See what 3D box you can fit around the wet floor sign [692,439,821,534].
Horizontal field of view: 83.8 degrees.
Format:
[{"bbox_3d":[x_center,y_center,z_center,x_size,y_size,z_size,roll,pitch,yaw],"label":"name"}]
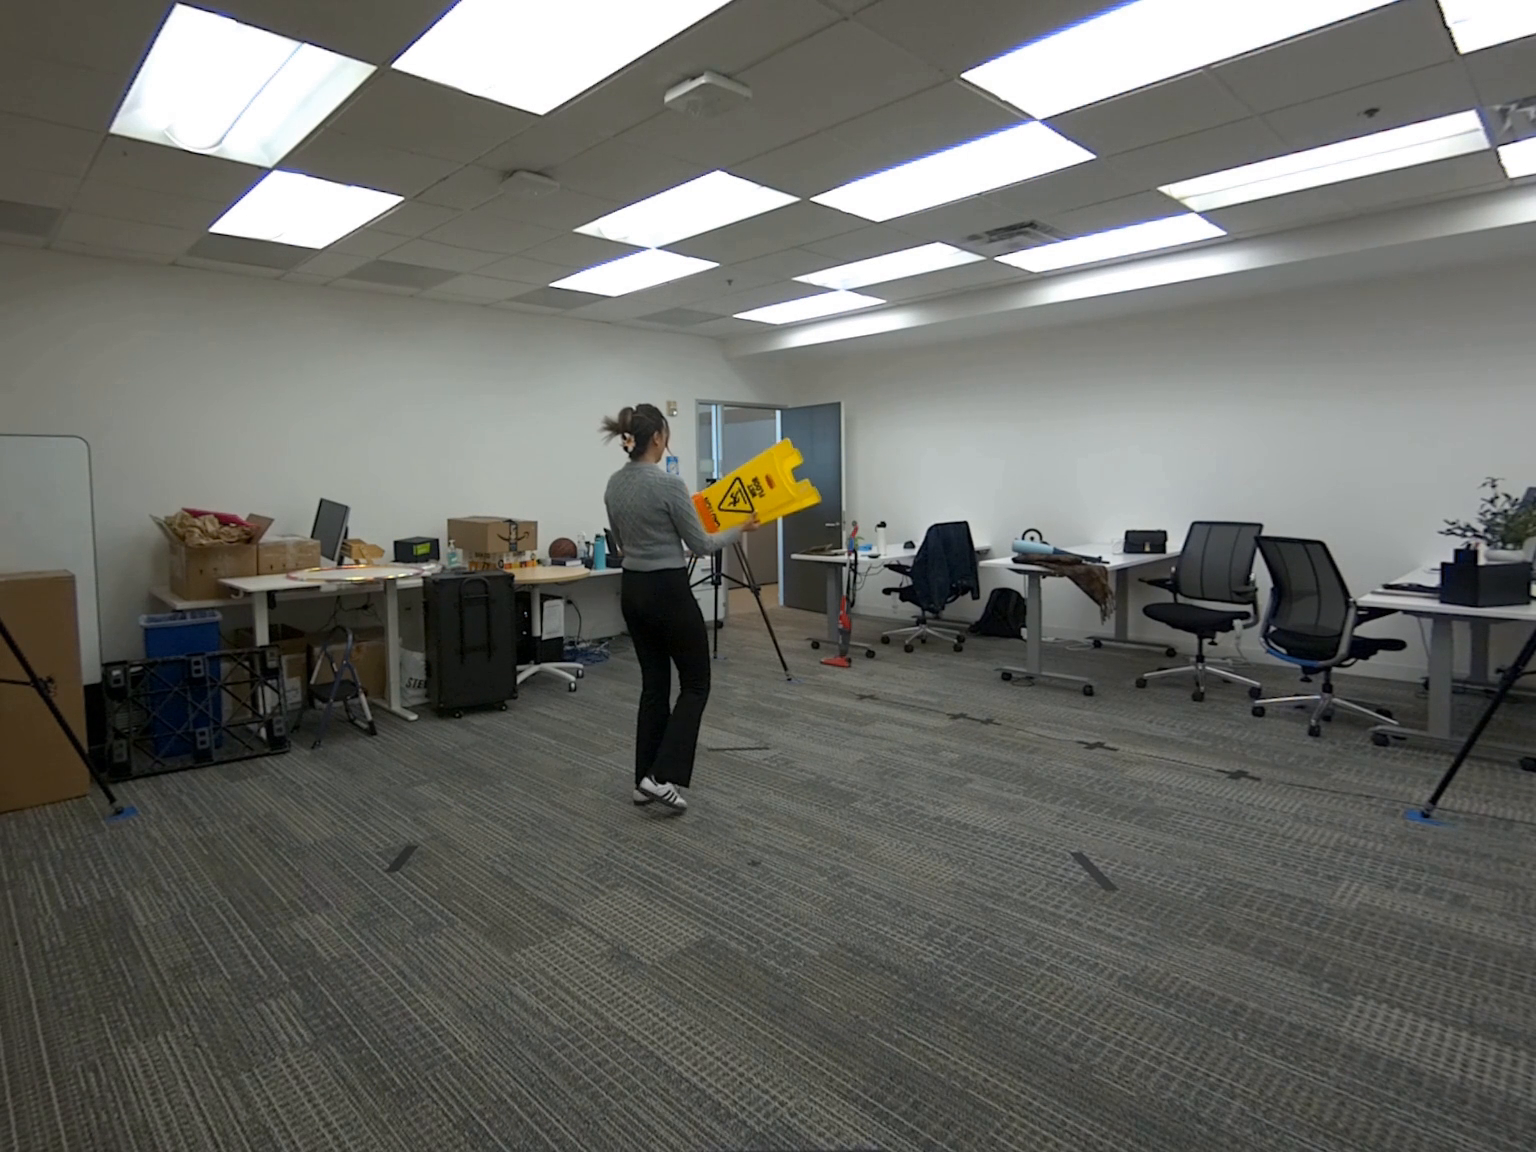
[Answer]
[{"bbox_3d":[-0.125,-0.340,3.950,0.649,0.285,0.285,-26,-8,9],"label":"wet floor sign"}]
